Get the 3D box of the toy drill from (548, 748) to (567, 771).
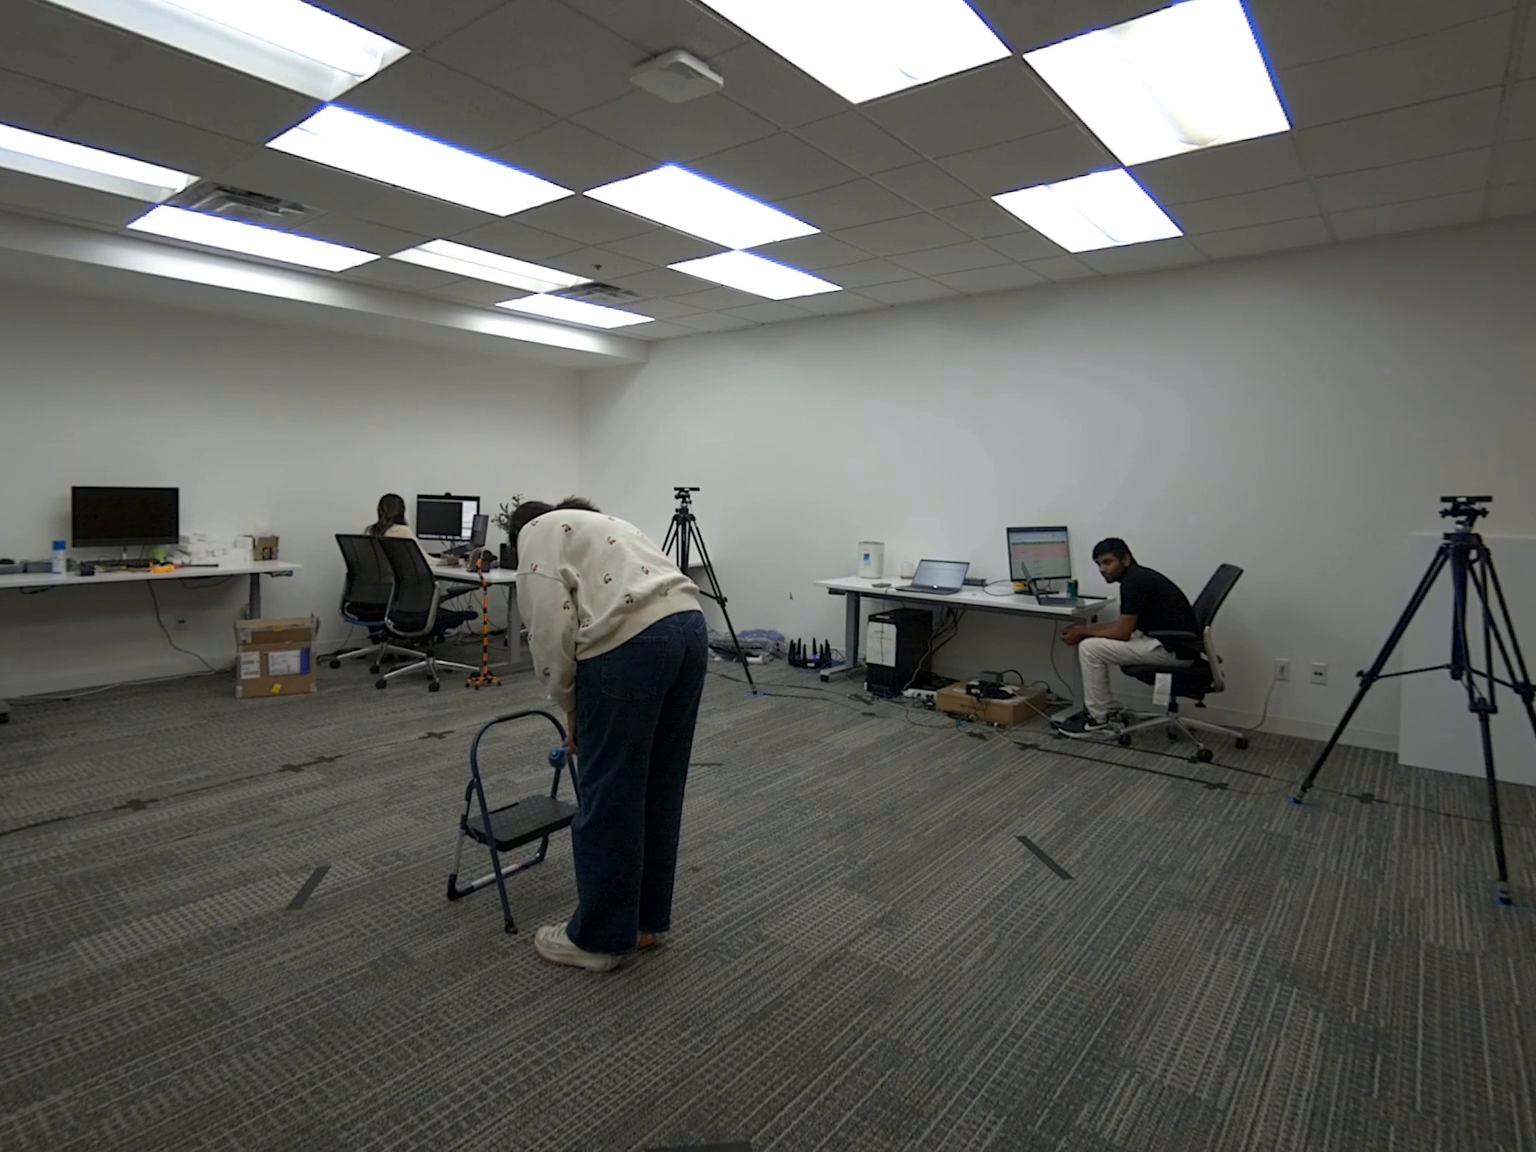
[{"bbox_3d":[-0.696,0.611,2.926,0.145,0.063,0.165,-21,-26,-11],"label":"toy drill"}]
